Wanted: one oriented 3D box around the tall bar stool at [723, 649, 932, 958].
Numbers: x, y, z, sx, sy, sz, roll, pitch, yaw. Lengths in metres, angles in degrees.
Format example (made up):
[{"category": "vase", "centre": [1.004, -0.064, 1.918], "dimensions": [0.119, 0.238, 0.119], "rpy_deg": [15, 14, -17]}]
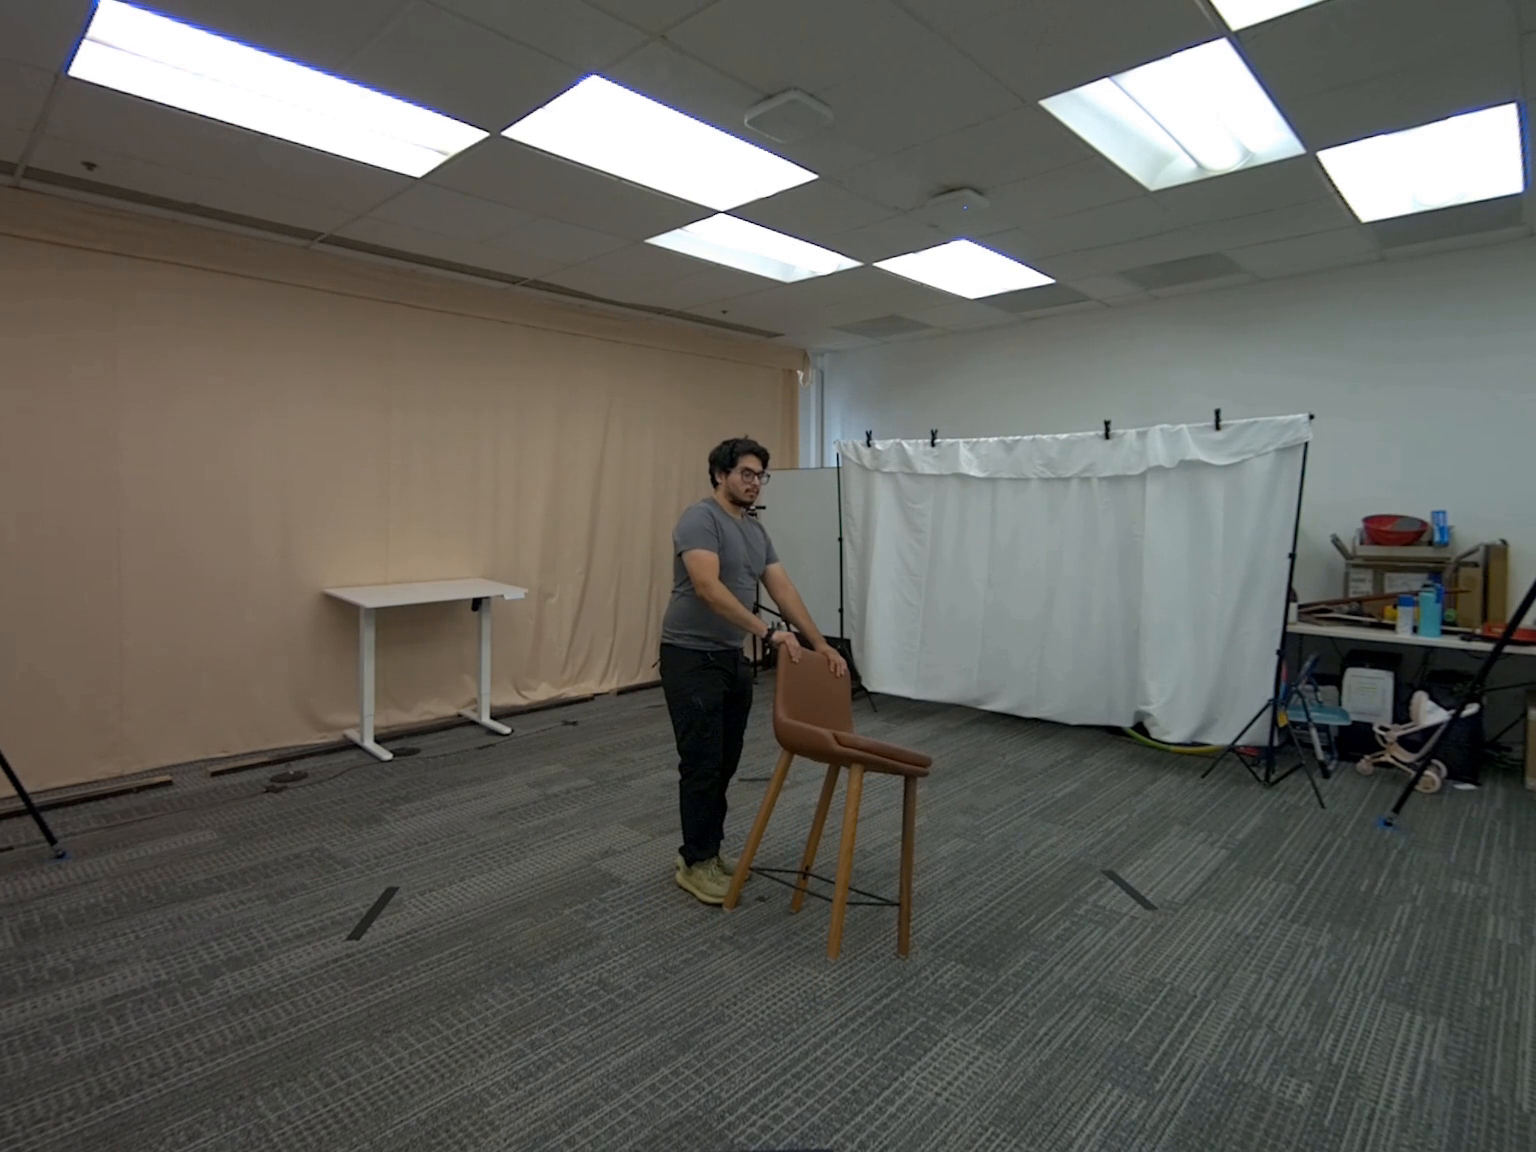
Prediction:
[{"category": "tall bar stool", "centre": [0.234, 0.695, 2.713], "dimensions": [0.482, 0.894, 0.440], "rpy_deg": [-1, -18, 43]}]
